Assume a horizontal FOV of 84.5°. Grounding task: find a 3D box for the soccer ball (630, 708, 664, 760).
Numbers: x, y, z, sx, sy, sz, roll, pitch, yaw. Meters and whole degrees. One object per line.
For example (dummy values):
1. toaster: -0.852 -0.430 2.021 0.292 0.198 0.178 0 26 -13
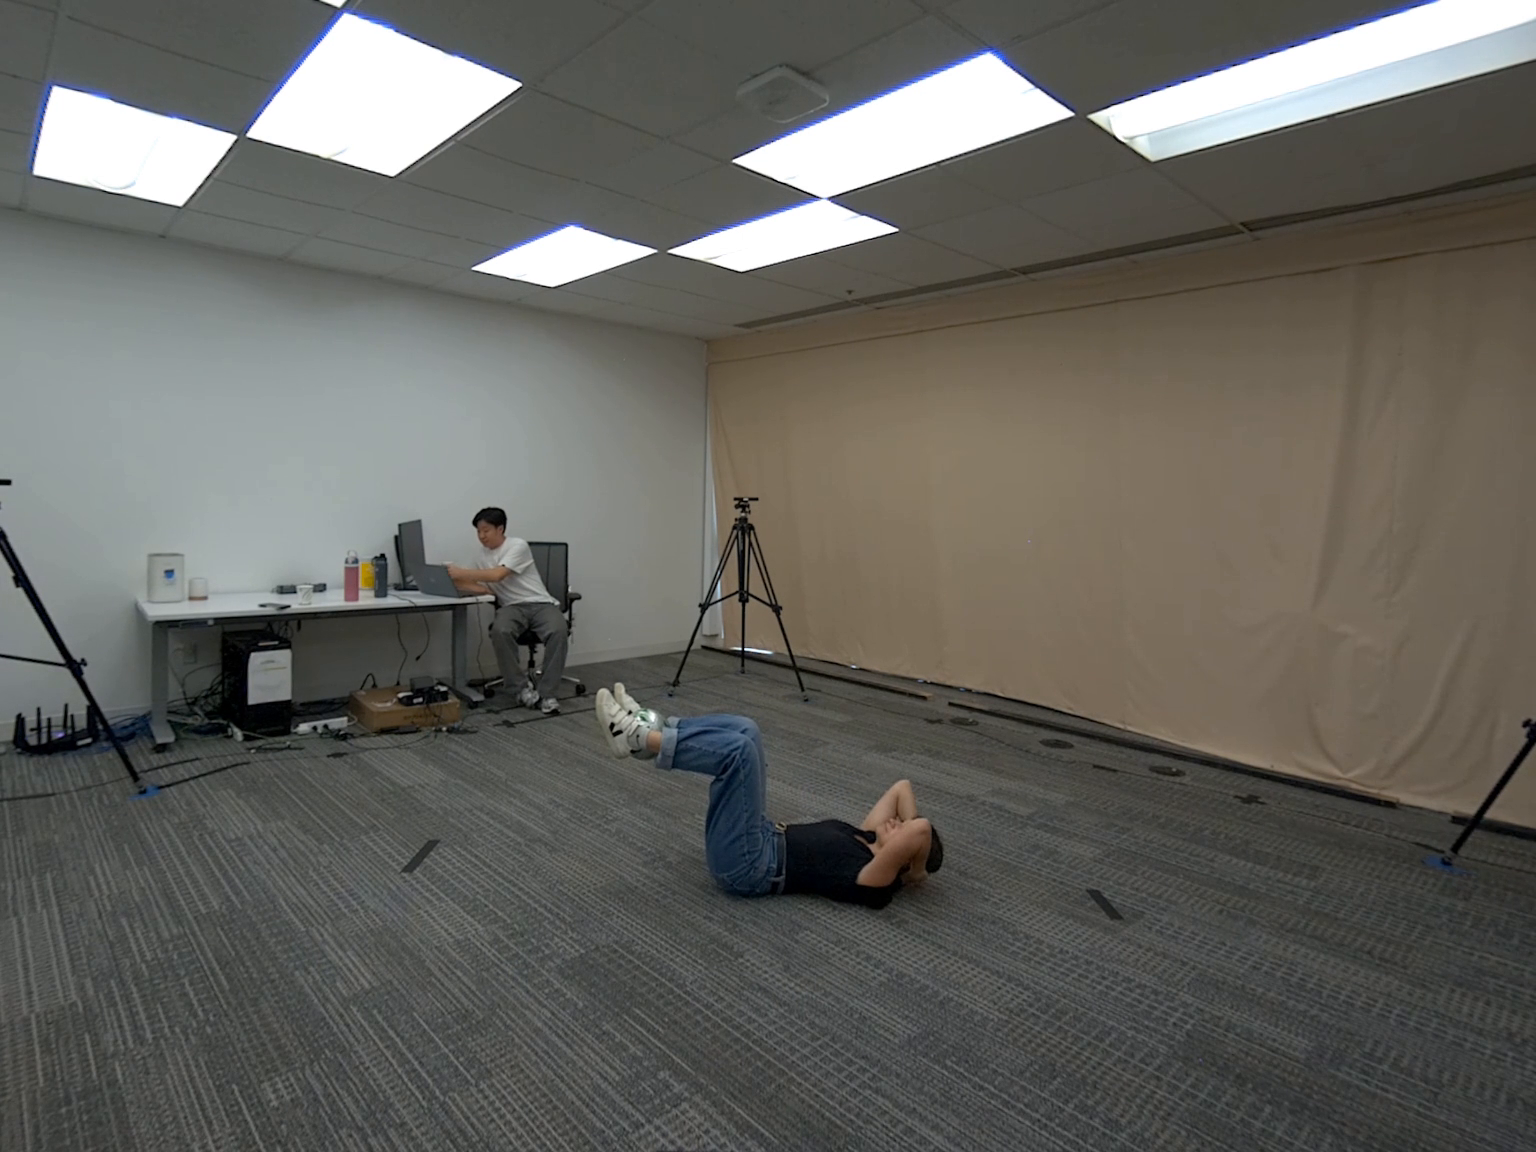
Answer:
1. soccer ball: -0.471 0.593 3.106 0.187 0.186 0.188 1 7 -1
